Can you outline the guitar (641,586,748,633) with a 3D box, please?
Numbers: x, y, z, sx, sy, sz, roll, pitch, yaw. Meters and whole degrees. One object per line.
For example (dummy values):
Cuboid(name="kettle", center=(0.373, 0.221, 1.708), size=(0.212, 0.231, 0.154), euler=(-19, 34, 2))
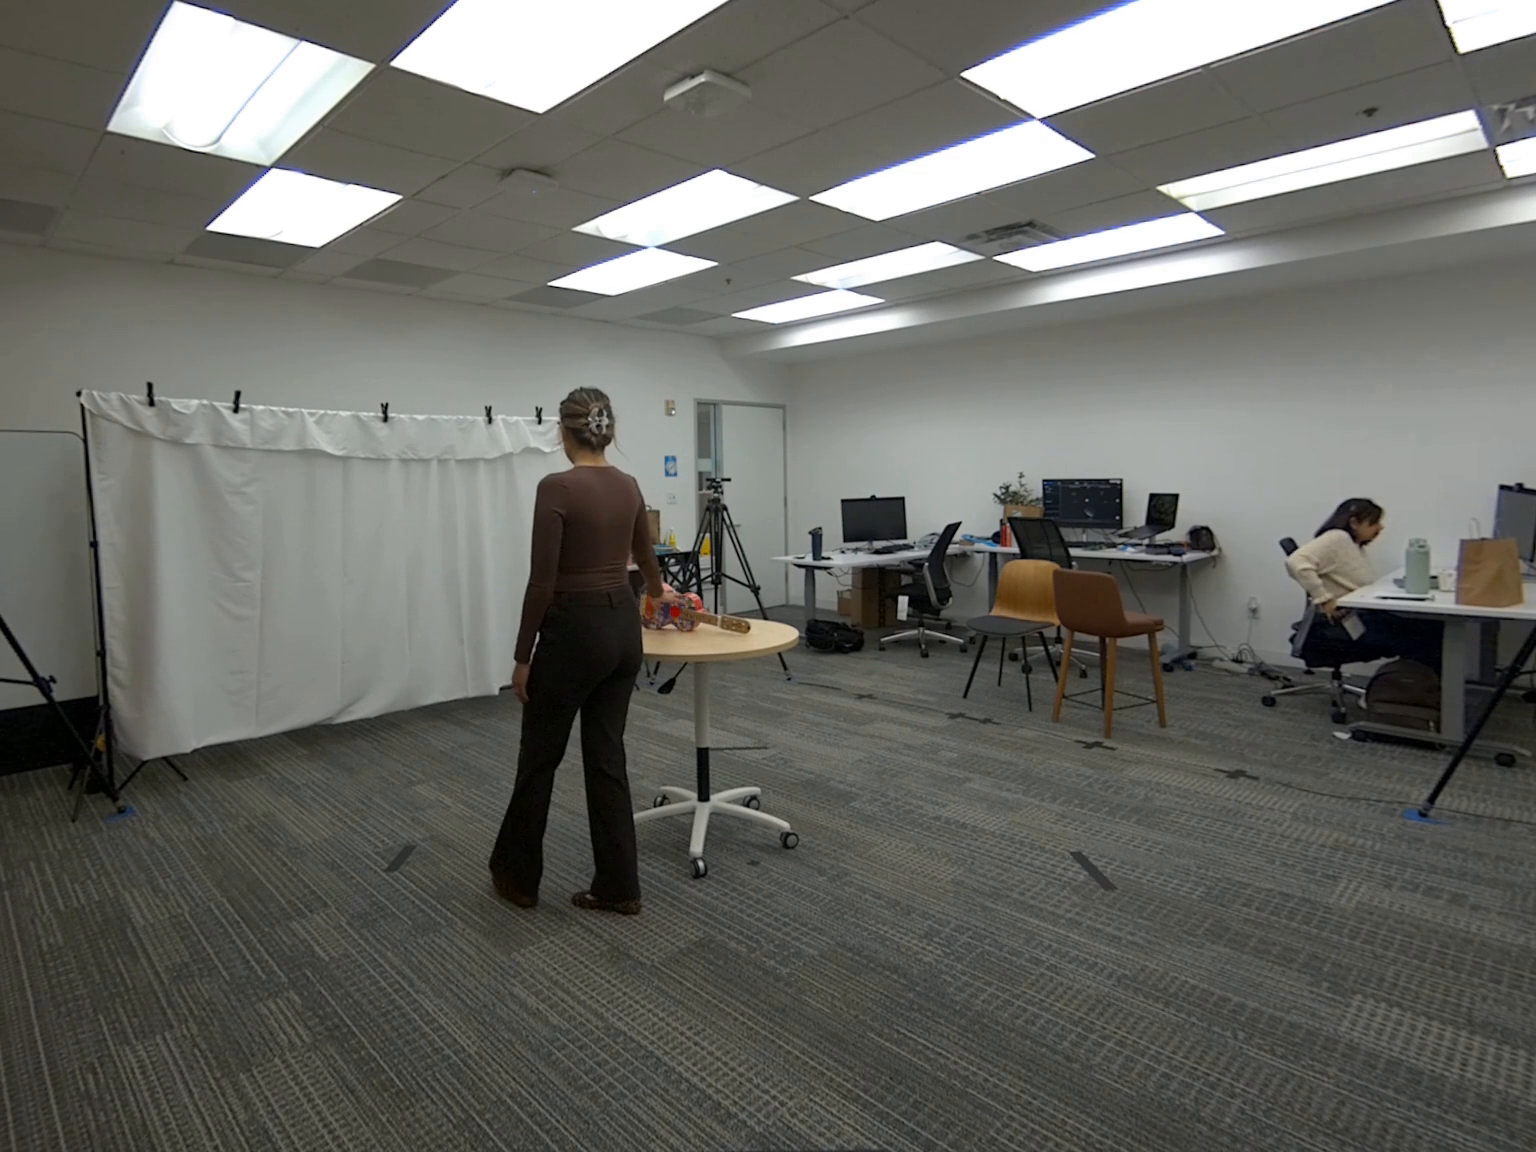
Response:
Cuboid(name="guitar", center=(-0.293, 0.177, 3.373), size=(0.511, 0.192, 0.069), euler=(20, 12, 23))
